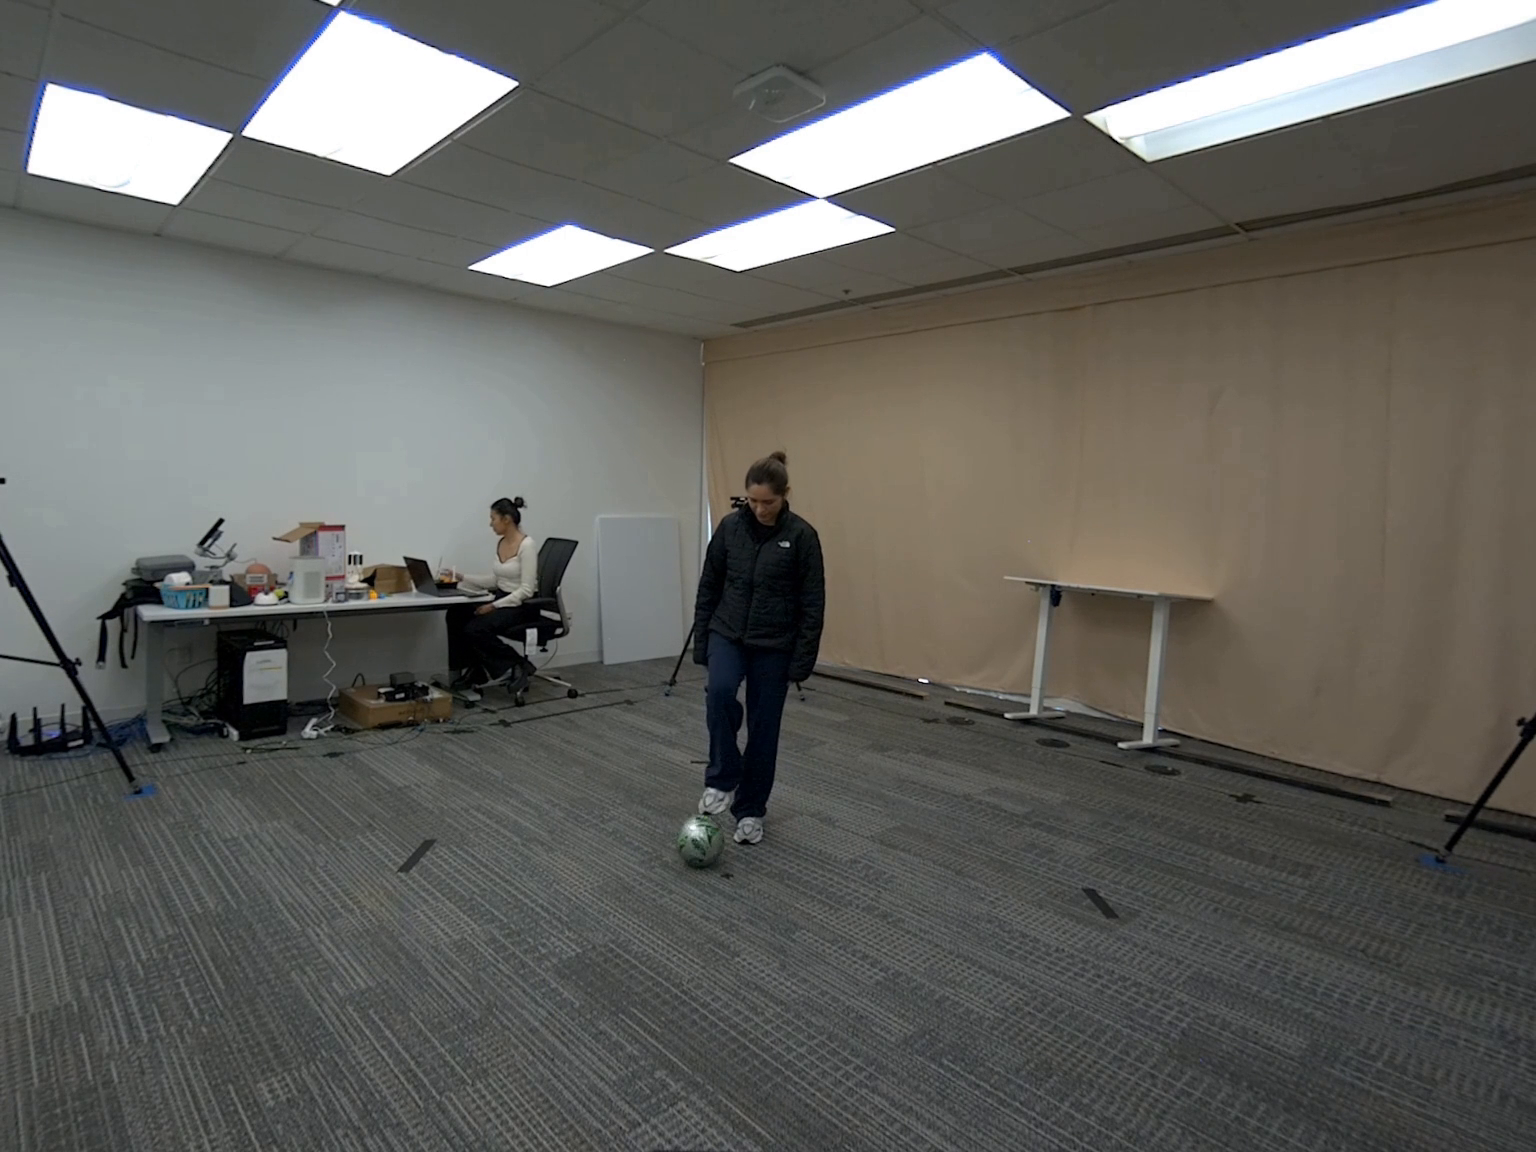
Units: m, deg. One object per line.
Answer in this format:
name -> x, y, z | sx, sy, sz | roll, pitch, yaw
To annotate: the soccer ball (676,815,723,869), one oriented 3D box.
soccer ball -> -0.277, 1.003, 3.182 | 0.187, 0.187, 0.188 | 1, 4, -1
